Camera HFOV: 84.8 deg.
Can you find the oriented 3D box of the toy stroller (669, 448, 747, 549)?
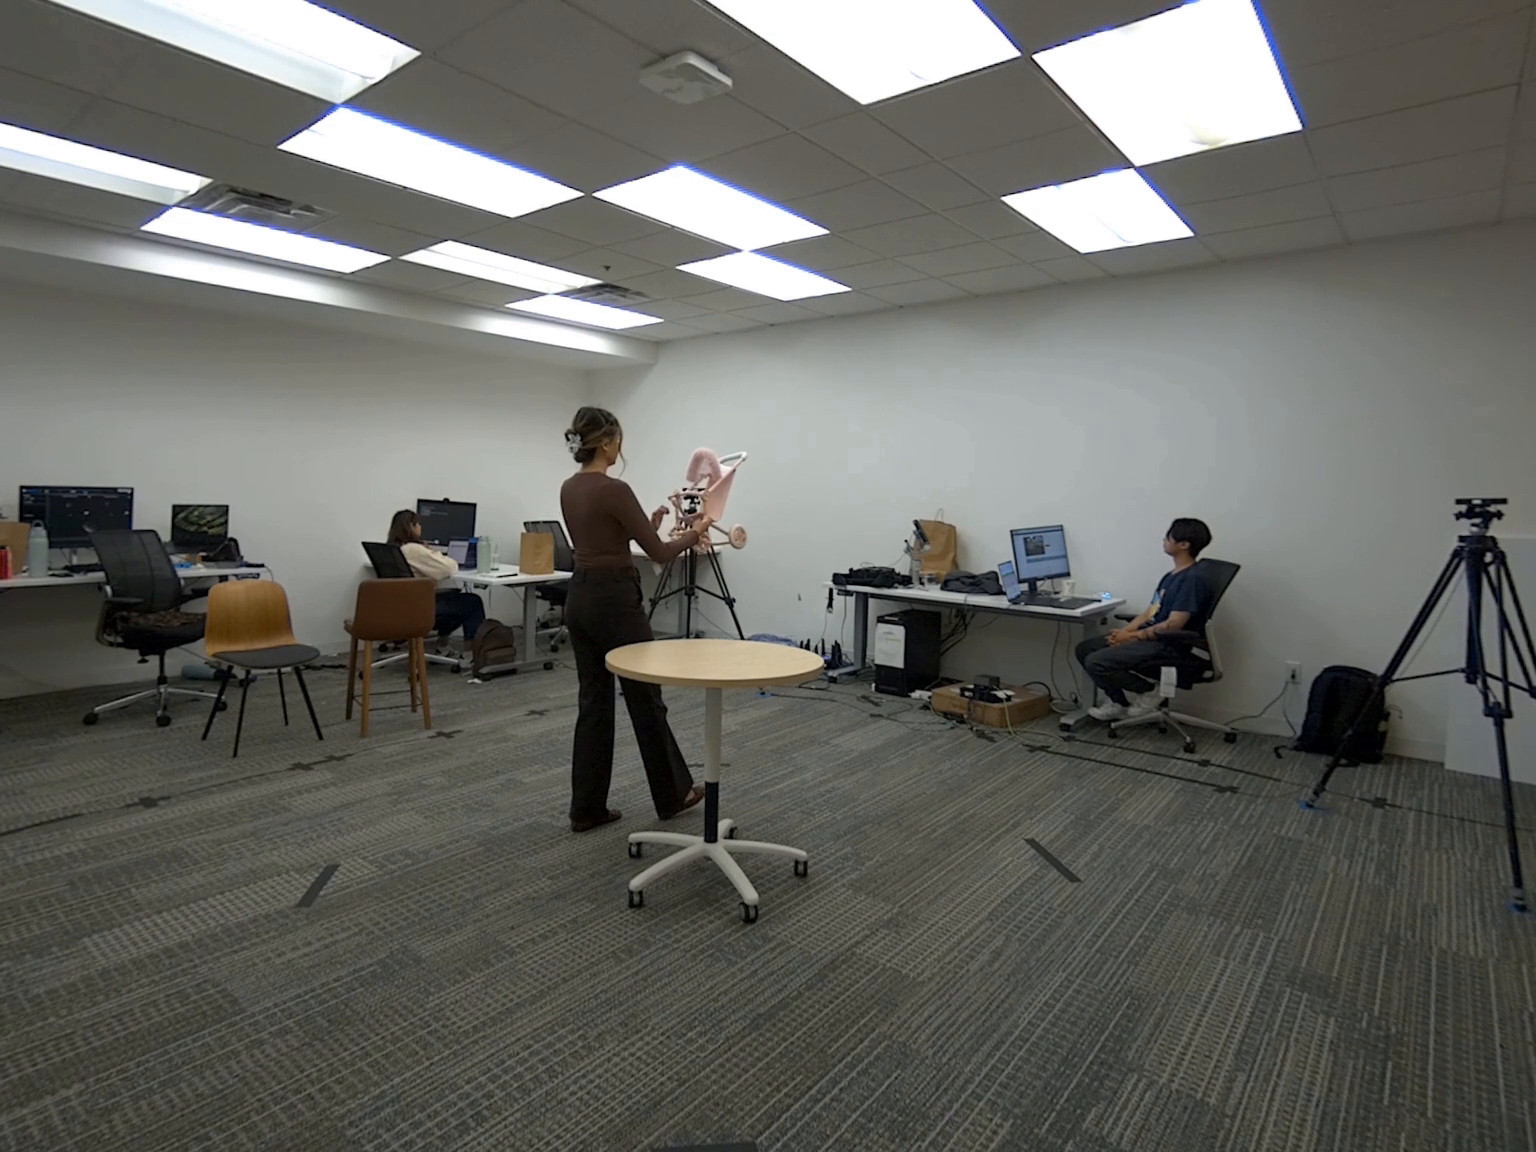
[{"bbox_3d":[-0.302,-0.337,3.788,0.329,0.540,0.289,15,-14,-38],"label":"toy stroller"}]
